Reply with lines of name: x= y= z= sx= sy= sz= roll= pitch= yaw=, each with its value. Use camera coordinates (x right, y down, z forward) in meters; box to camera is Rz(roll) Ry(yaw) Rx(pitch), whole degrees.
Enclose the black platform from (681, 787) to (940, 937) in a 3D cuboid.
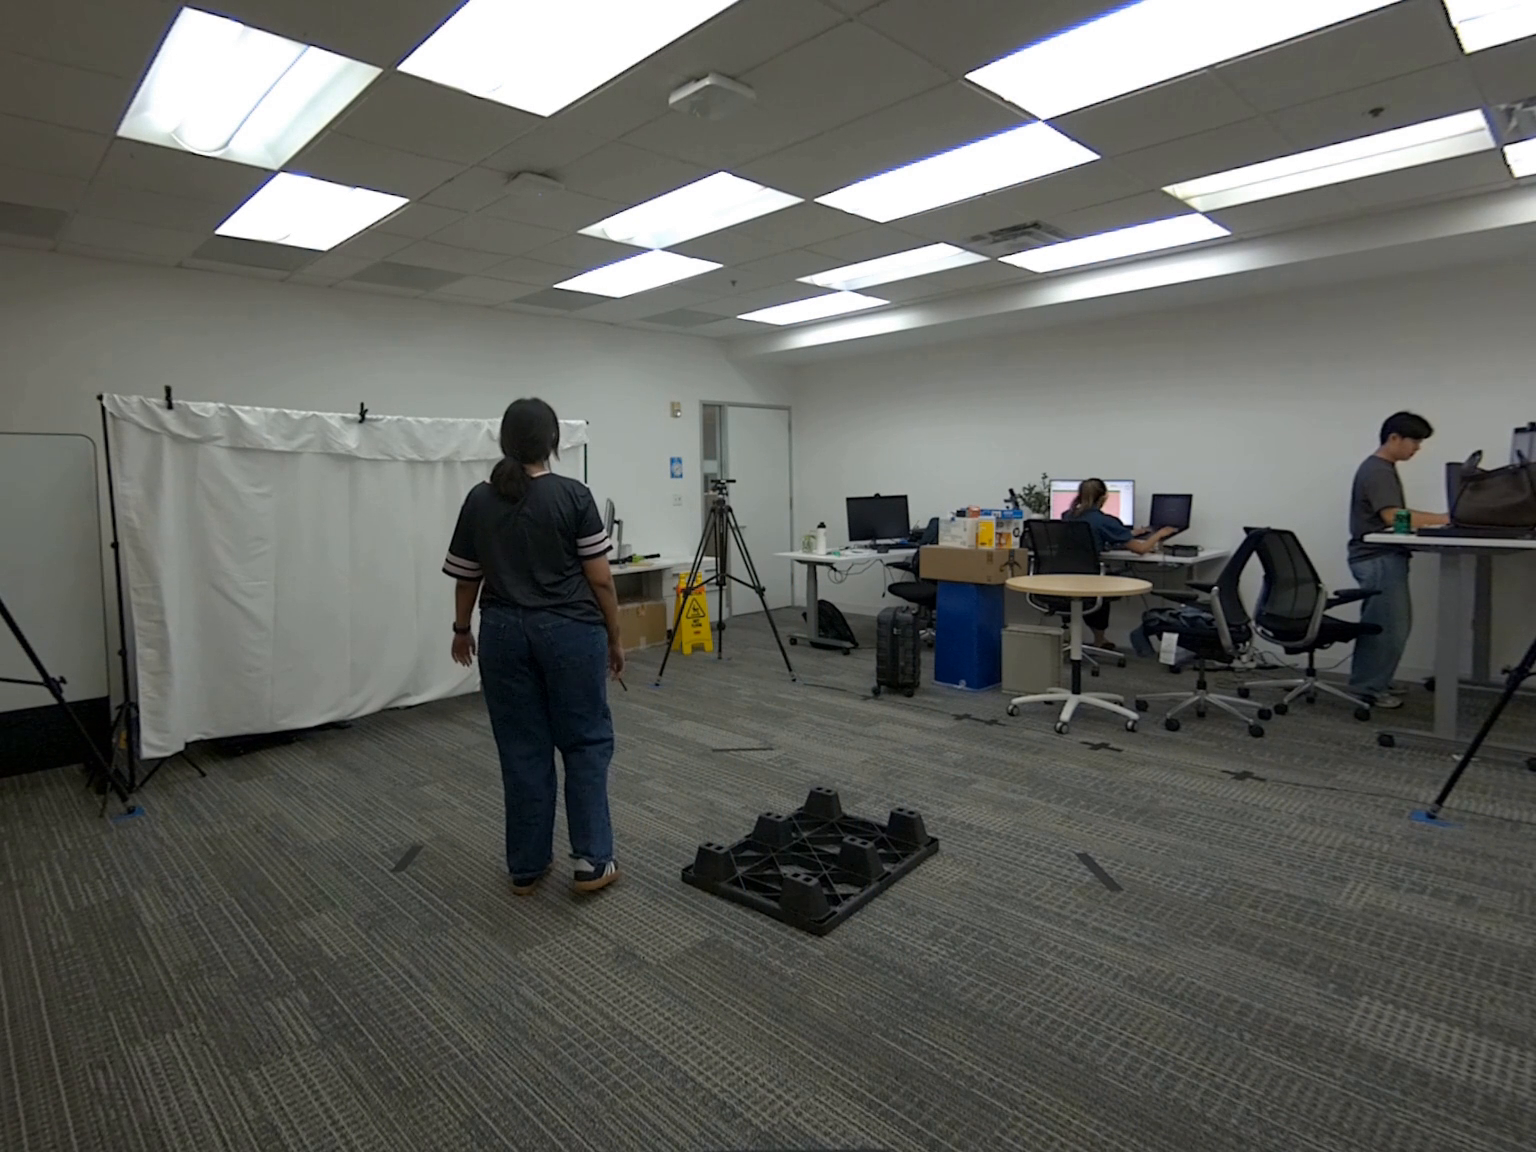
black platform: x=0.171 y=0.981 z=3.082 sx=0.623 sy=0.142 sz=0.785 roll=4 pitch=8 yaw=38
